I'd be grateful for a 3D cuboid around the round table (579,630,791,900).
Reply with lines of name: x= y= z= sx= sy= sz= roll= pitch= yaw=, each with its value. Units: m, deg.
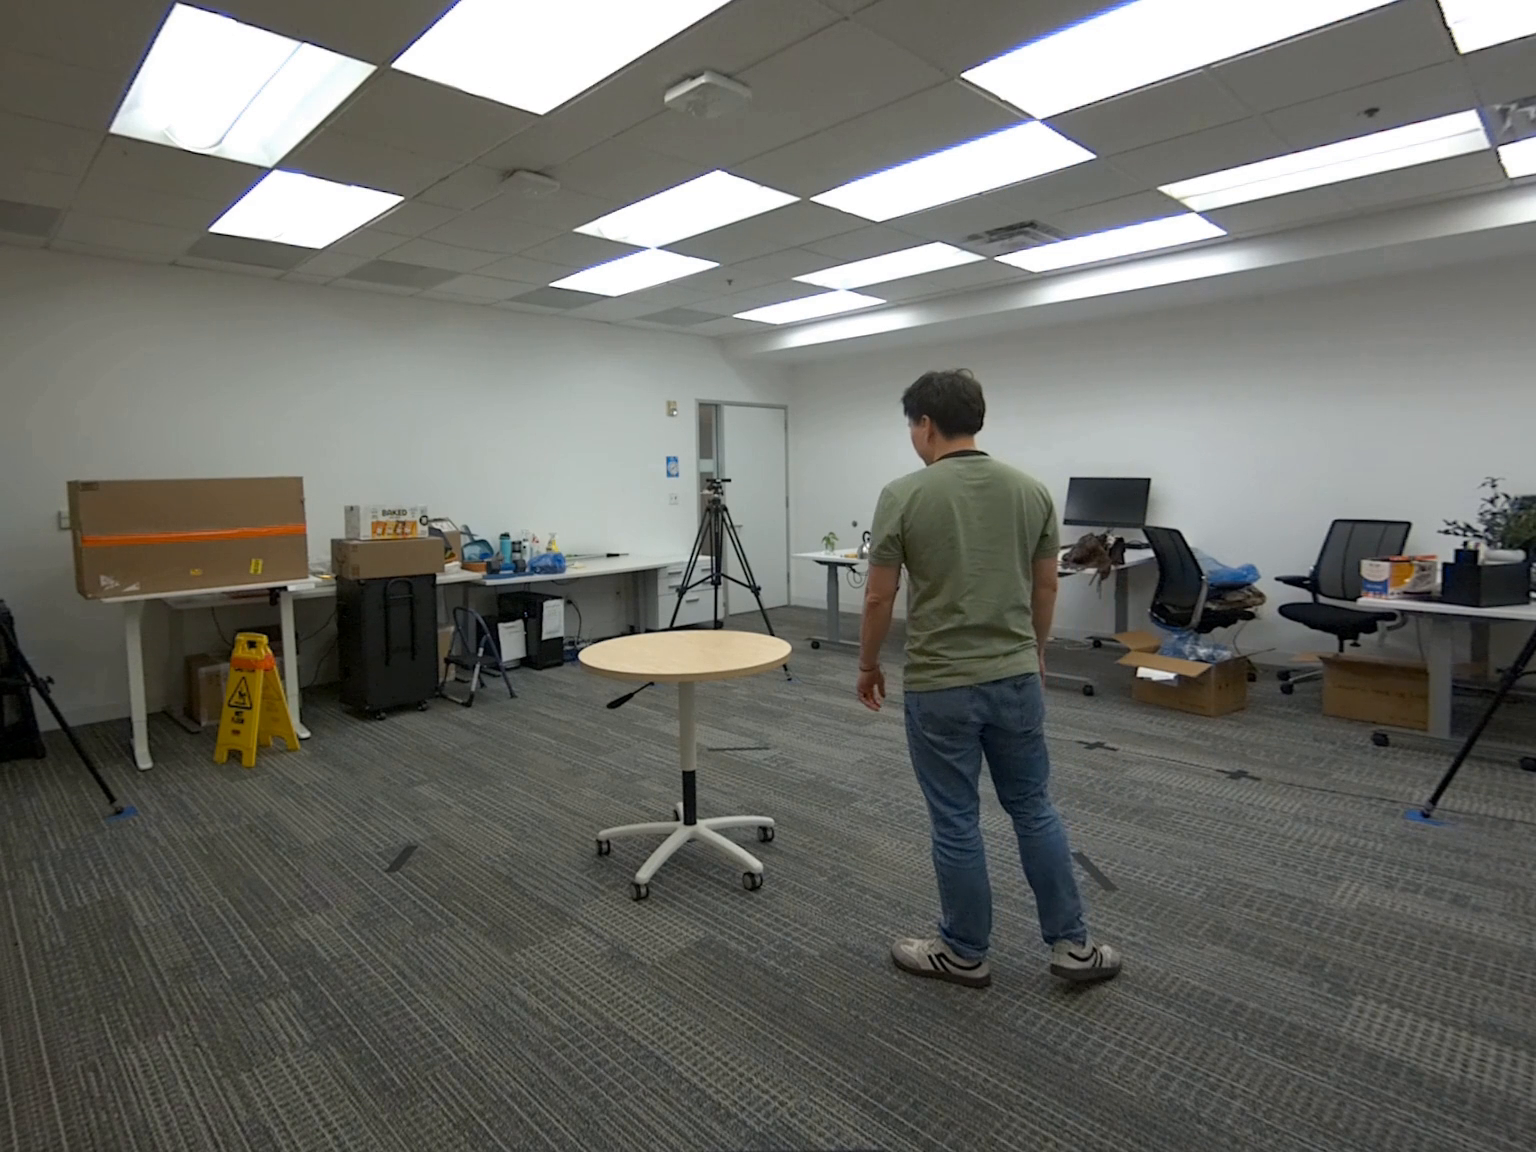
round table: x=-0.284 y=0.659 z=3.113 sx=0.763 sy=0.791 sz=0.768 roll=-2 pitch=5 yaw=-2
